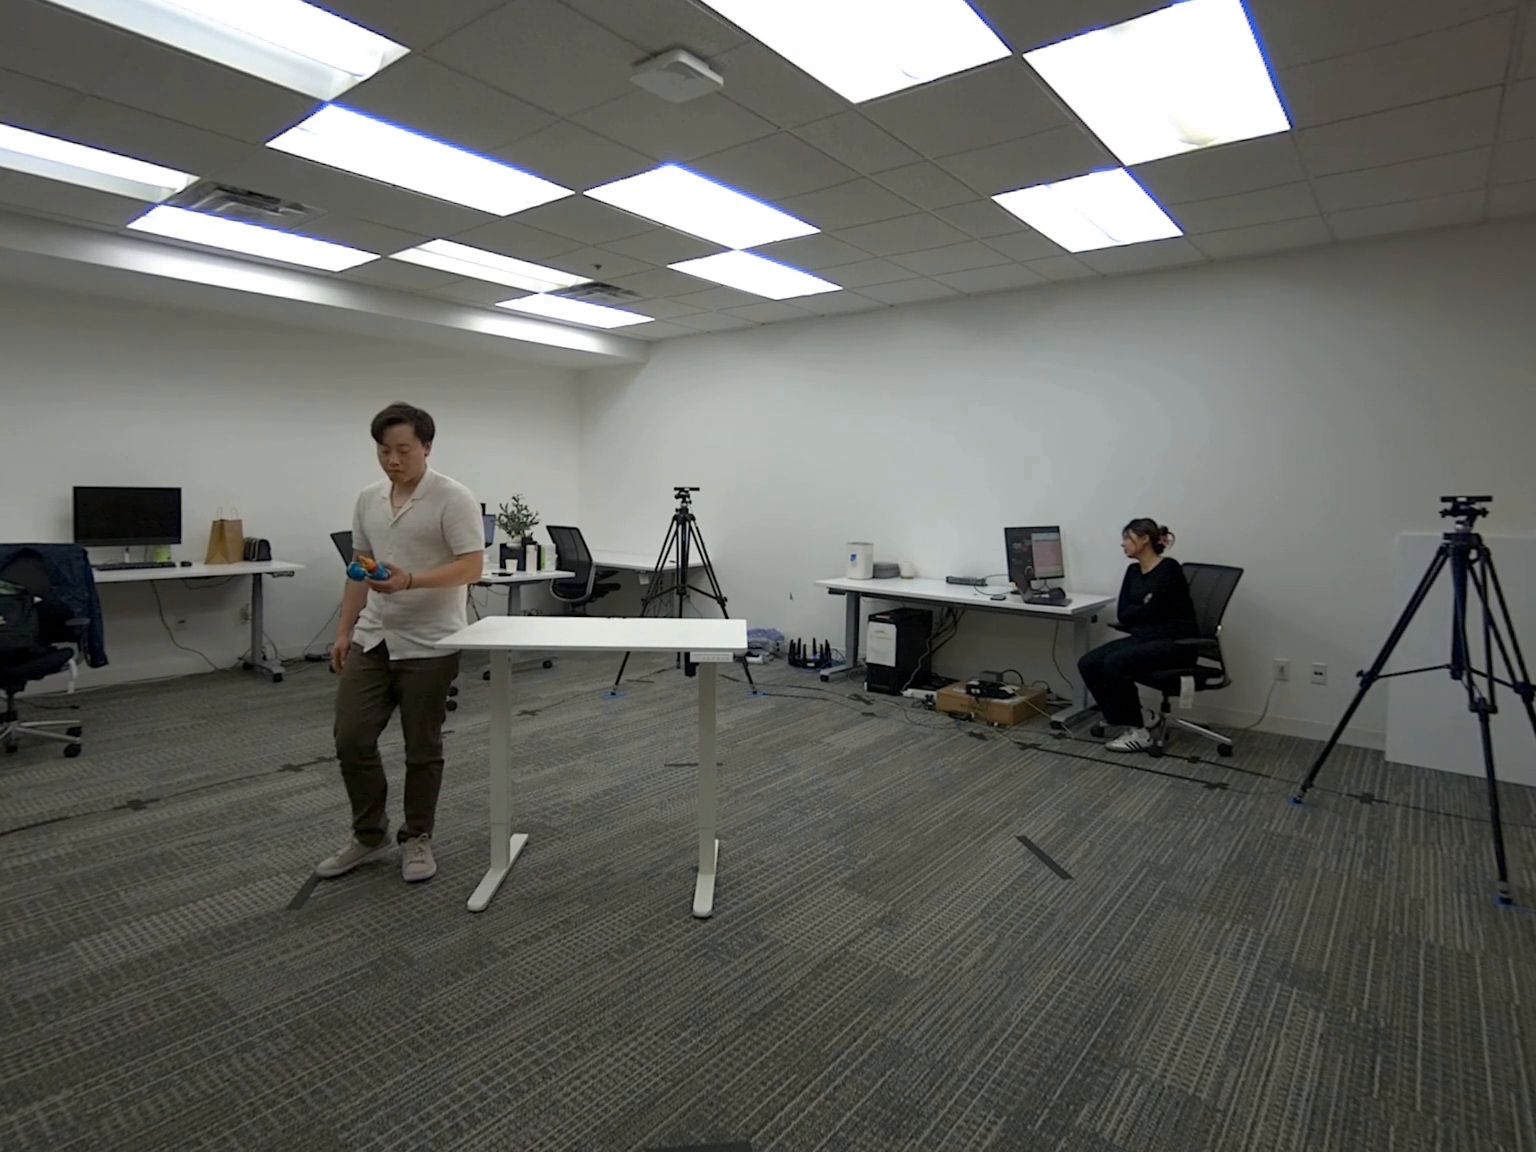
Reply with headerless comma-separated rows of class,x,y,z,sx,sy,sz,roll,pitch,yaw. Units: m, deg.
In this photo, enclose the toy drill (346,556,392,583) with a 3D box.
toy drill,-1.320,-0.023,2.741,0.149,0.062,0.164,8,-24,15
